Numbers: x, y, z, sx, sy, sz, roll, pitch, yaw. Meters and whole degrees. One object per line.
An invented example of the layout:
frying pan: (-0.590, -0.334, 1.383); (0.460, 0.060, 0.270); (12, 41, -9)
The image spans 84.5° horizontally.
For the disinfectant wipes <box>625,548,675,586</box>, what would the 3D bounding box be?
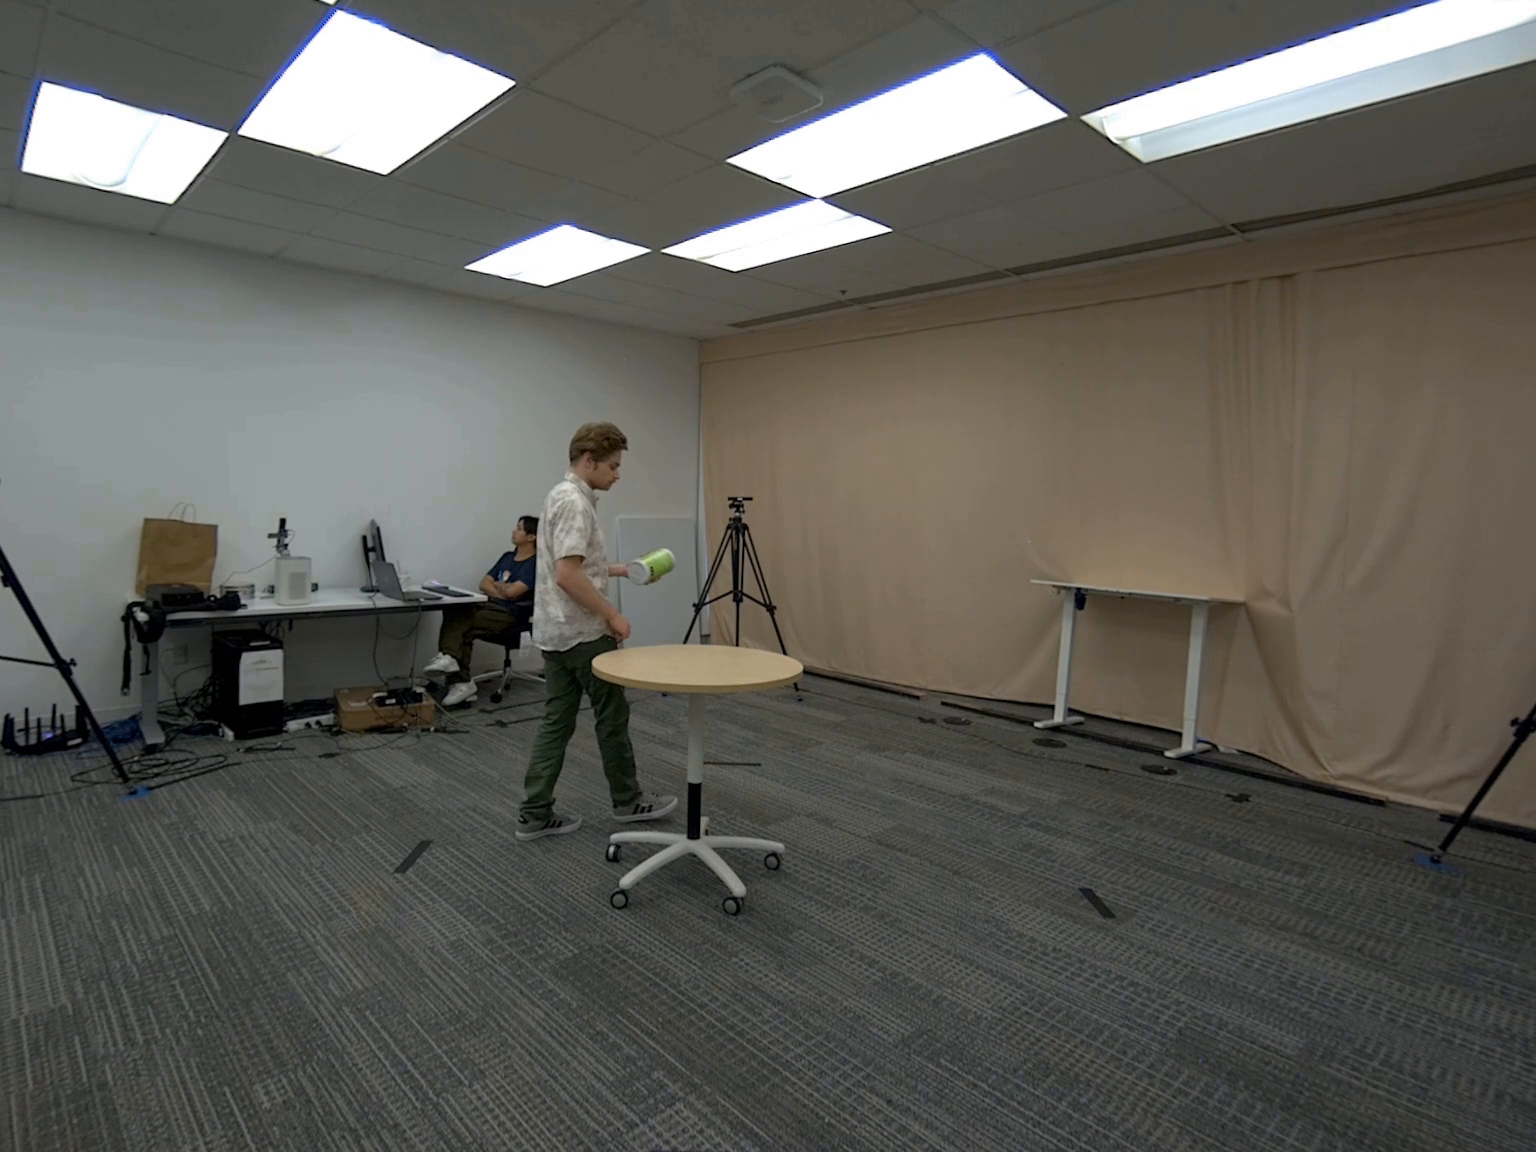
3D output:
disinfectant wipes: (-0.503, -0.045, 3.622); (0.120, 0.116, 0.215); (3, 17, 28)
